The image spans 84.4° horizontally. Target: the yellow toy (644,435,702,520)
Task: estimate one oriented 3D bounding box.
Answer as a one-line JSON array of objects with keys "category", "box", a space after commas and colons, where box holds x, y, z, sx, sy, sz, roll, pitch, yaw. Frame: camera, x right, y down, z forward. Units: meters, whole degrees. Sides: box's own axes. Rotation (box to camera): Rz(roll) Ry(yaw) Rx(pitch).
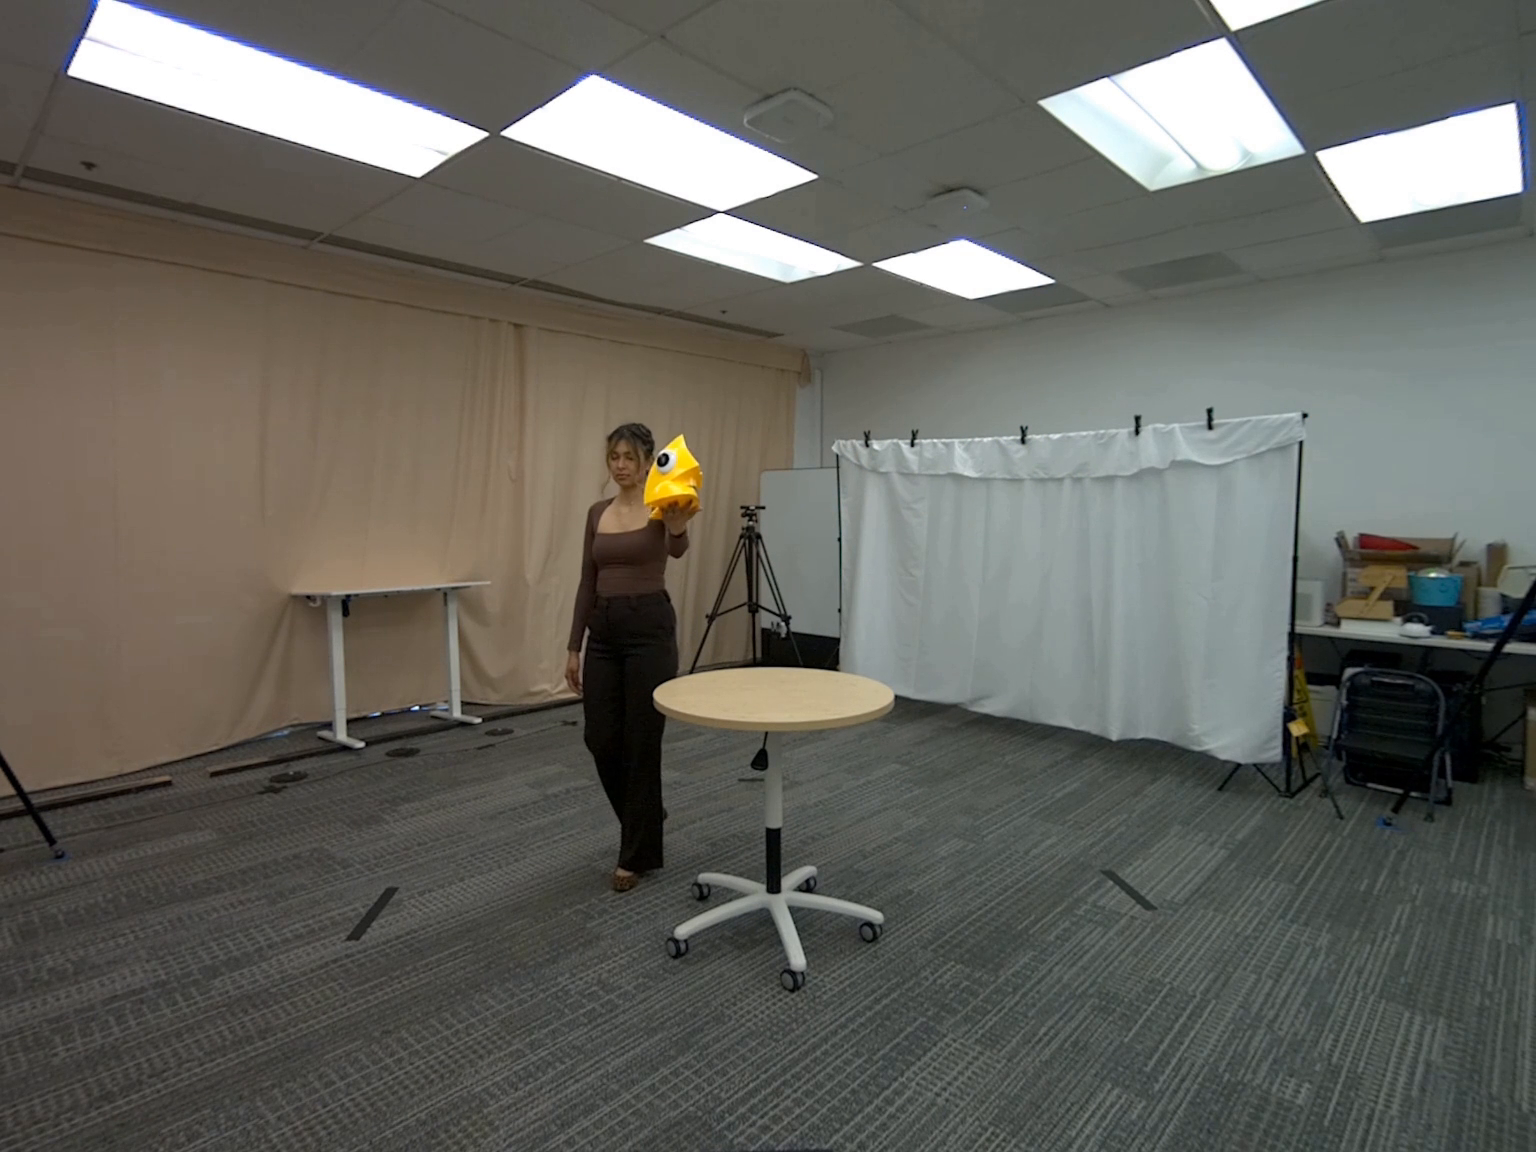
[{"category": "yellow toy", "box": [-0.299, -0.322, 2.607, 0.192, 0.233, 0.203, -10, -14, -4]}]
